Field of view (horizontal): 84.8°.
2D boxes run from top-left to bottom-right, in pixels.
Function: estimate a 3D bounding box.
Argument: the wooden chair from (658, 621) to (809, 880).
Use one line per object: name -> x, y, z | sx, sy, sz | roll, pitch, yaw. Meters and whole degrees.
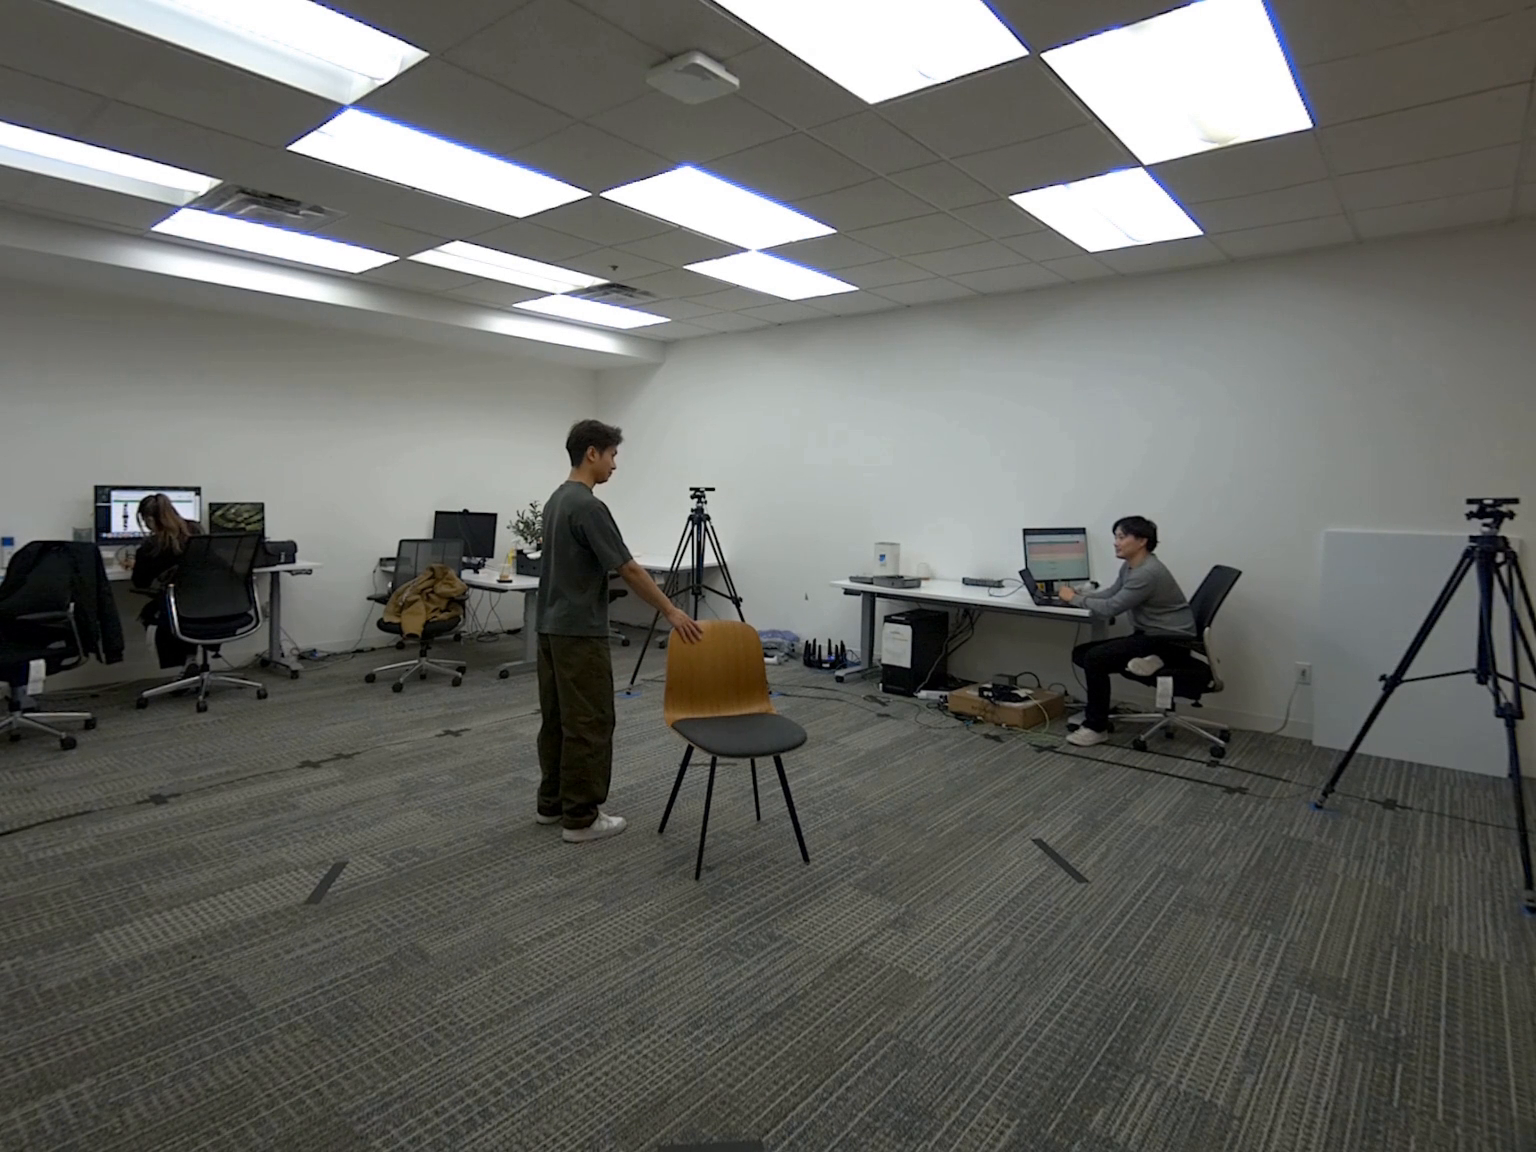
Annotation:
wooden chair -> -0.143, 0.625, 3.266 | 0.467, 0.879, 0.534 | 1, -1, -23
